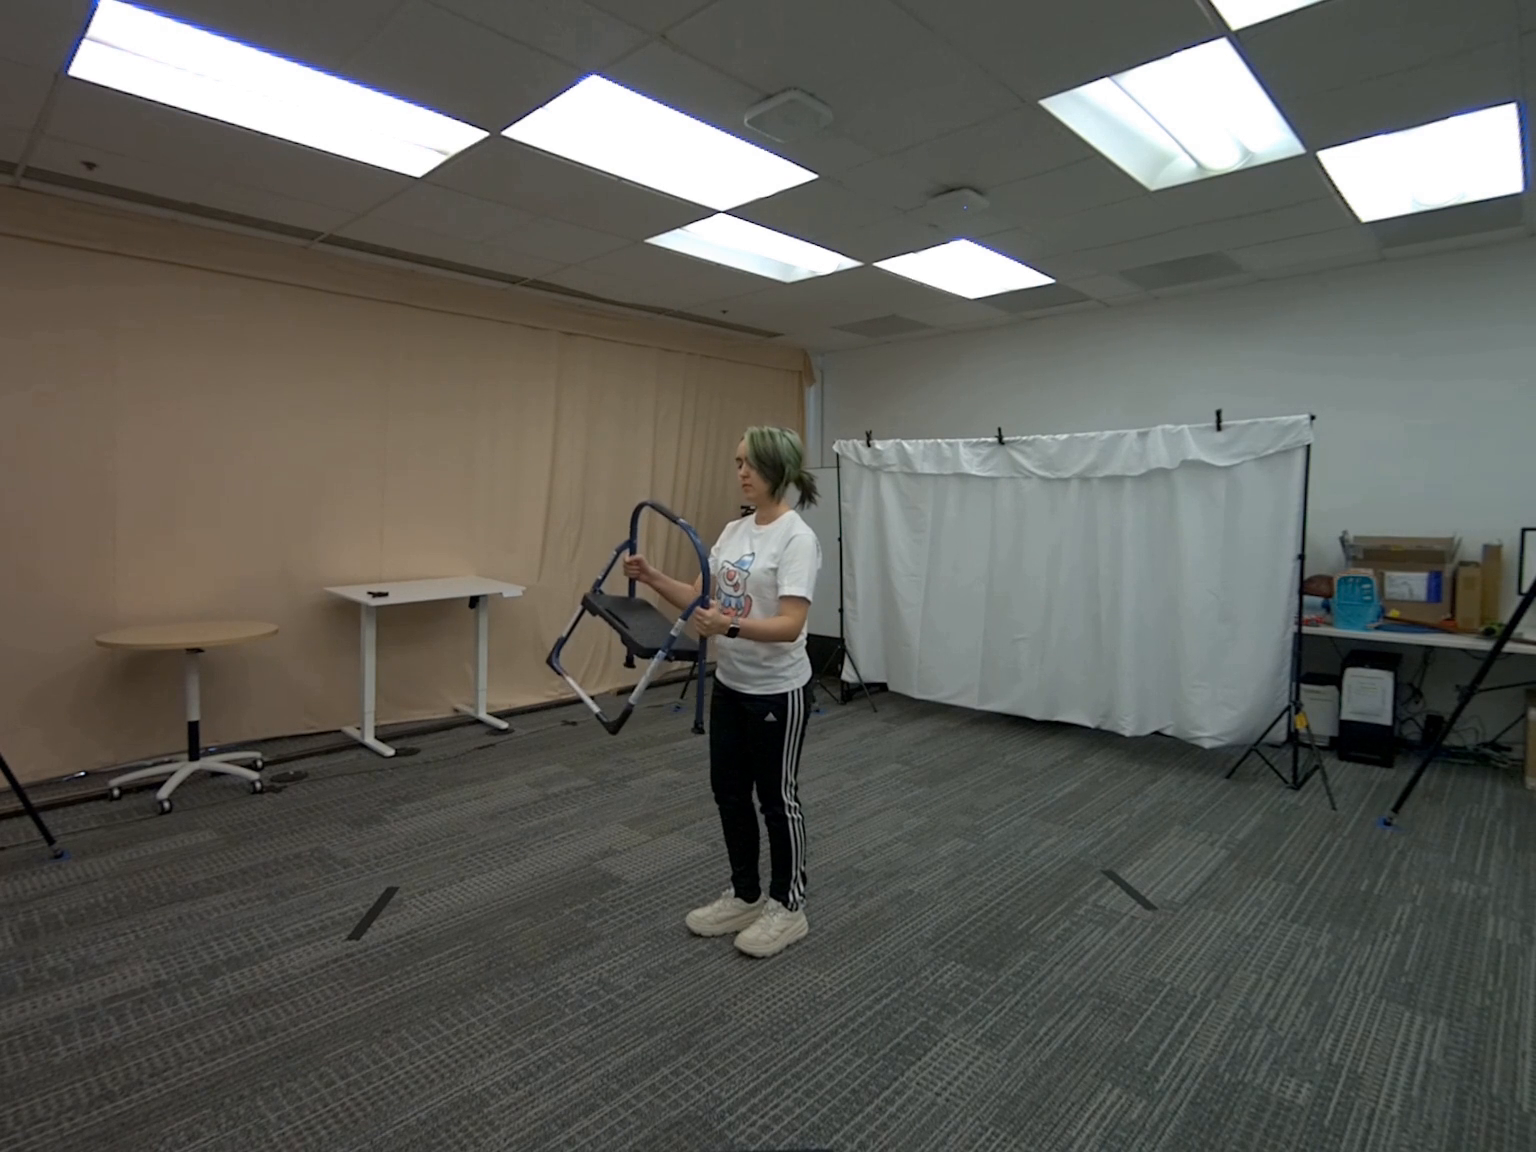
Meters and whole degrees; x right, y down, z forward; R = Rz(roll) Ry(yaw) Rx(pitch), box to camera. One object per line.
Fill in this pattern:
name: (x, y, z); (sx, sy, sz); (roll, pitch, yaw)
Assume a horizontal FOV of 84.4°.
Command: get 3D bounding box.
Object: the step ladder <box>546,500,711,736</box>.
step ladder: (-0.333, 0.098, 2.496); (0.337, 0.604, 0.447); (8, 18, -45)
